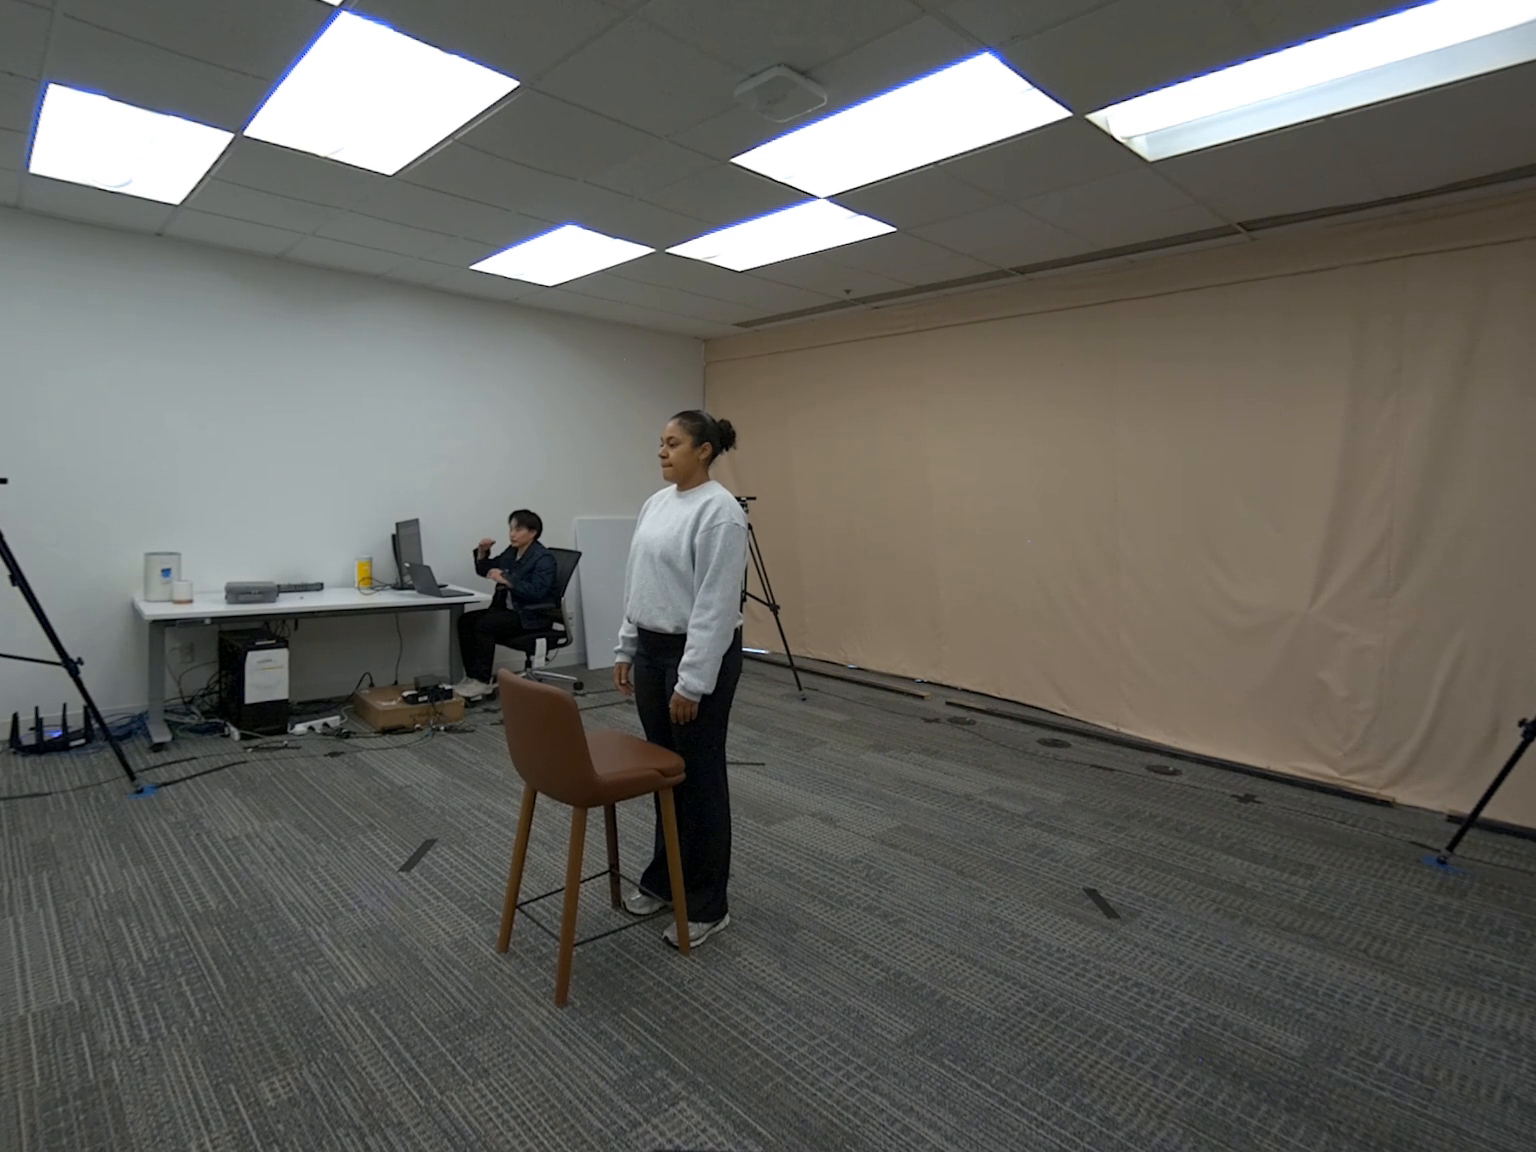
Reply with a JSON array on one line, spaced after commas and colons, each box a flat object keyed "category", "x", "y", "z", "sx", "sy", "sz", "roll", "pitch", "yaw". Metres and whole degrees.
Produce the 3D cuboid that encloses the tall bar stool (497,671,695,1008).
[{"category": "tall bar stool", "x": -0.538, "y": 0.711, "z": 2.536, "sx": 0.457, "sy": 0.887, "sz": 0.468, "roll": -4, "pitch": 6, "yaw": -42}]
